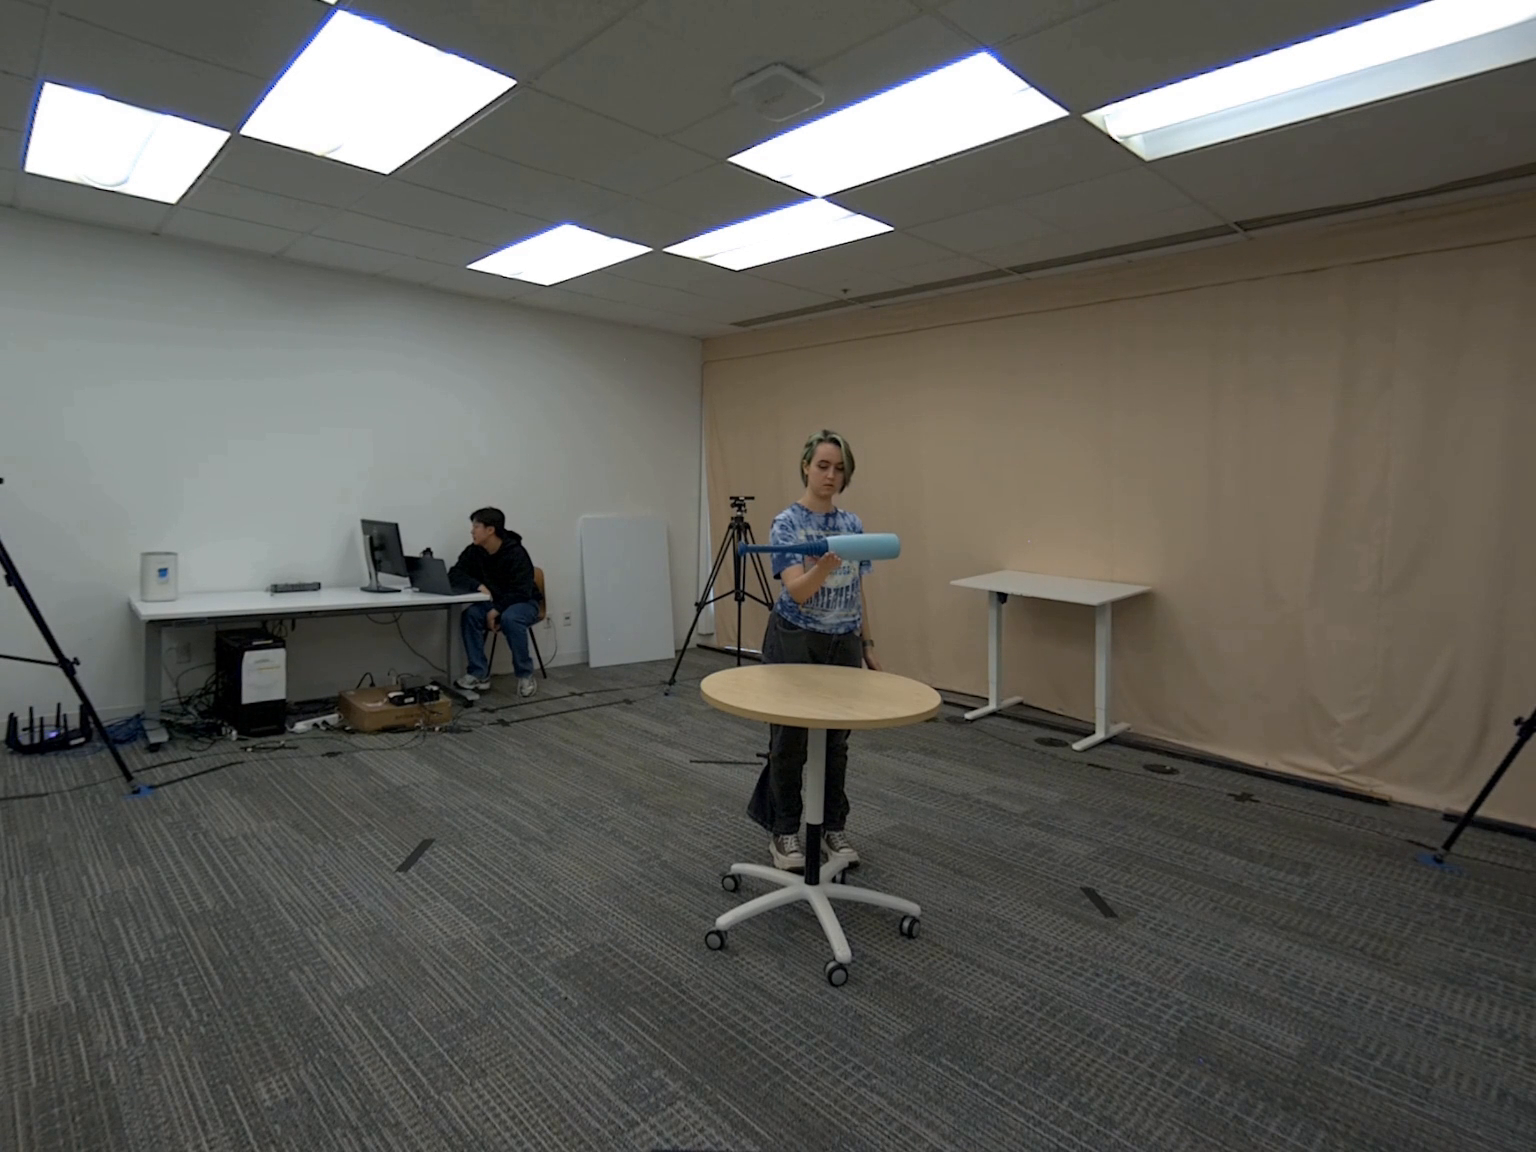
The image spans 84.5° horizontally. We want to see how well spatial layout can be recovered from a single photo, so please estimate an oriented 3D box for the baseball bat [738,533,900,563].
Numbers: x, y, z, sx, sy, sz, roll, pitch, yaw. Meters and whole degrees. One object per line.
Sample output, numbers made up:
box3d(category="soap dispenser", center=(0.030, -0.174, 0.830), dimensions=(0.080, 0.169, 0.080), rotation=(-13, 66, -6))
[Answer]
box3d(category="baseball bat", center=(0.161, -0.089, 2.756), dimensions=(0.539, 0.089, 0.090), rotation=(-2, 5, -9))
